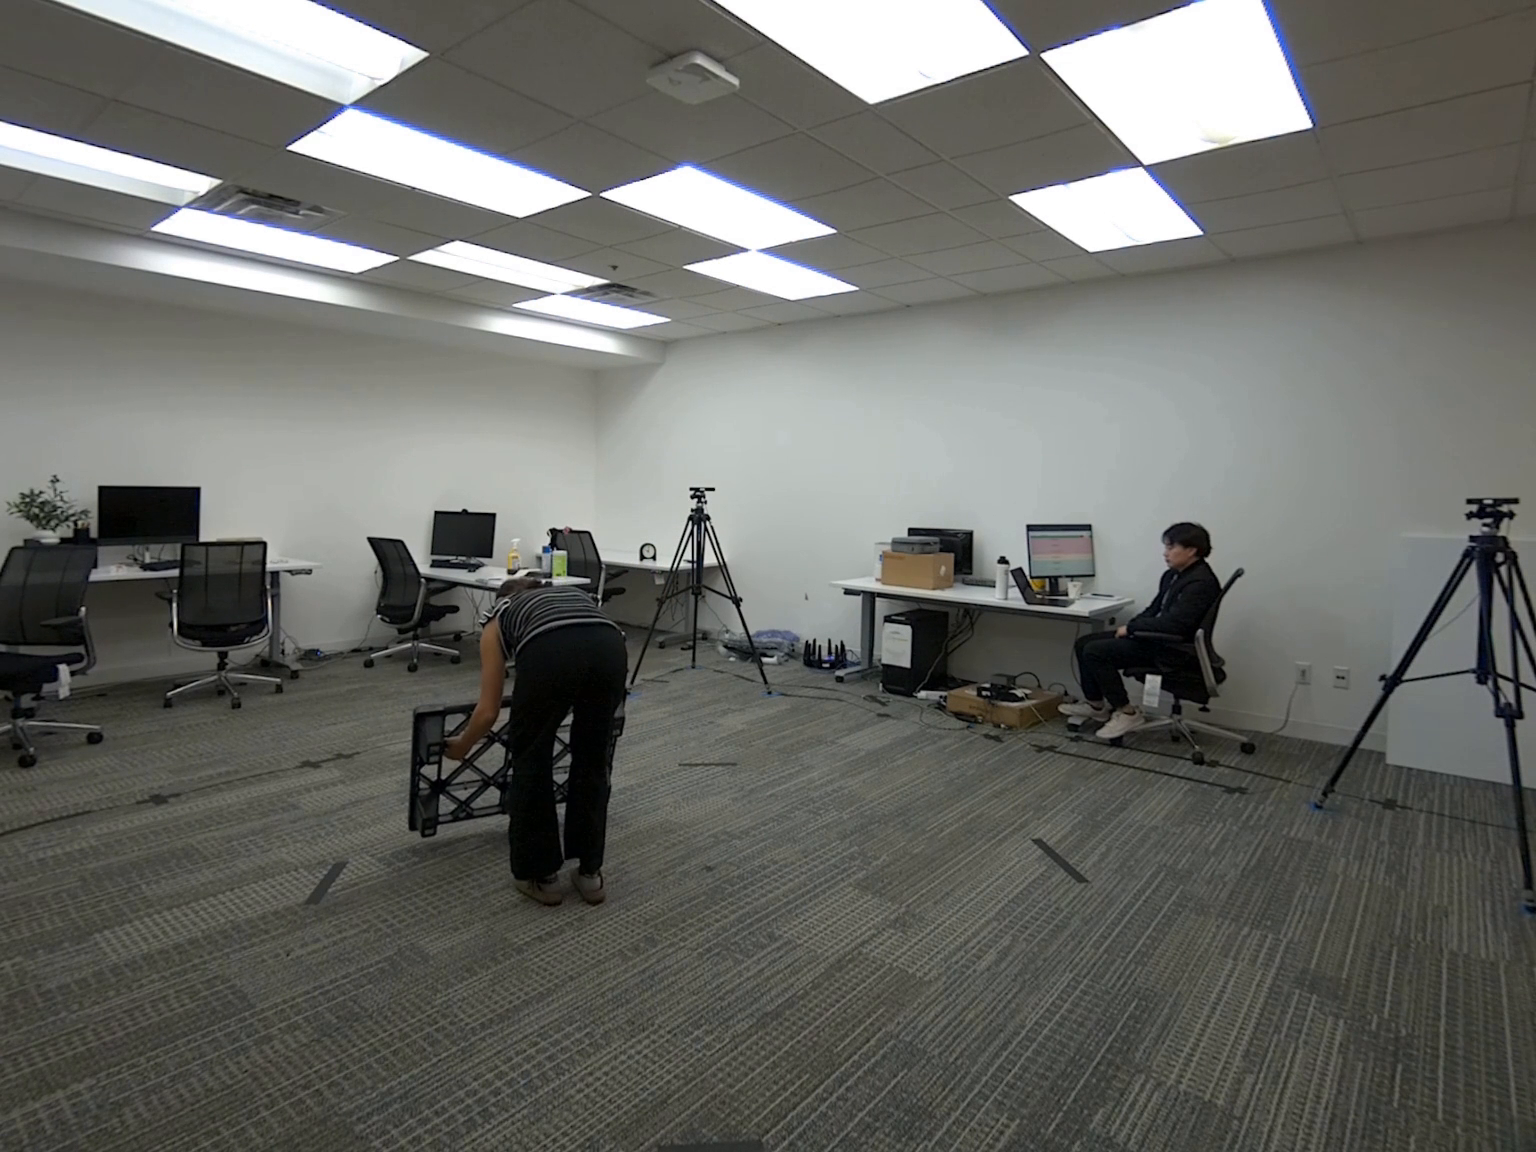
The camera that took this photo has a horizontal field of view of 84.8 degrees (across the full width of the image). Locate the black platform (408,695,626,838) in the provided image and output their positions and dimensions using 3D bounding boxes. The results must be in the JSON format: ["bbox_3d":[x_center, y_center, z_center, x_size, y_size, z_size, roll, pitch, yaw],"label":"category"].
[{"bbox_3d":[-0.965,0.728,3.270,0.786,0.595,0.149,-3,33,-27],"label":"black platform"}]
